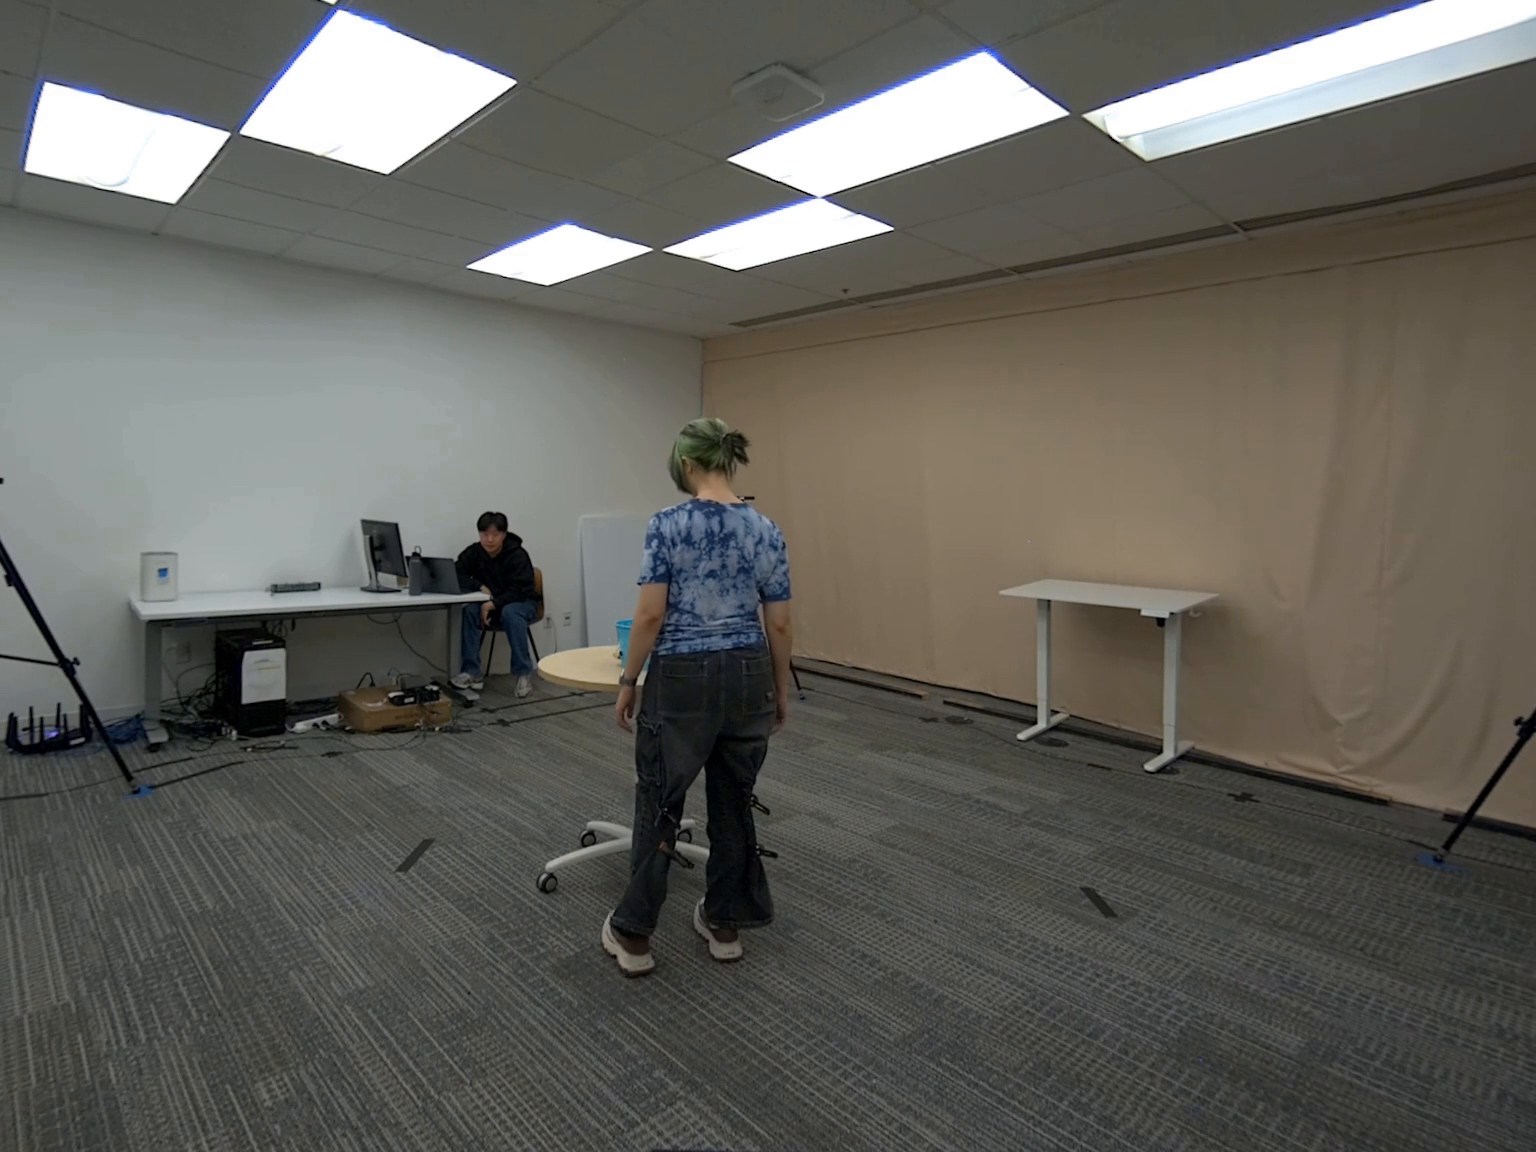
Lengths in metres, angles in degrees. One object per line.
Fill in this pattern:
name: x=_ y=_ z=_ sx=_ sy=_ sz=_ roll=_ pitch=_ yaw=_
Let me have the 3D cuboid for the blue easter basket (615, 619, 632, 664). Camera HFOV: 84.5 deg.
blue easter basket: x=-0.448 y=0.250 z=3.002 sx=0.243 sy=0.155 sz=0.244 roll=2 pitch=4 yaw=-1
